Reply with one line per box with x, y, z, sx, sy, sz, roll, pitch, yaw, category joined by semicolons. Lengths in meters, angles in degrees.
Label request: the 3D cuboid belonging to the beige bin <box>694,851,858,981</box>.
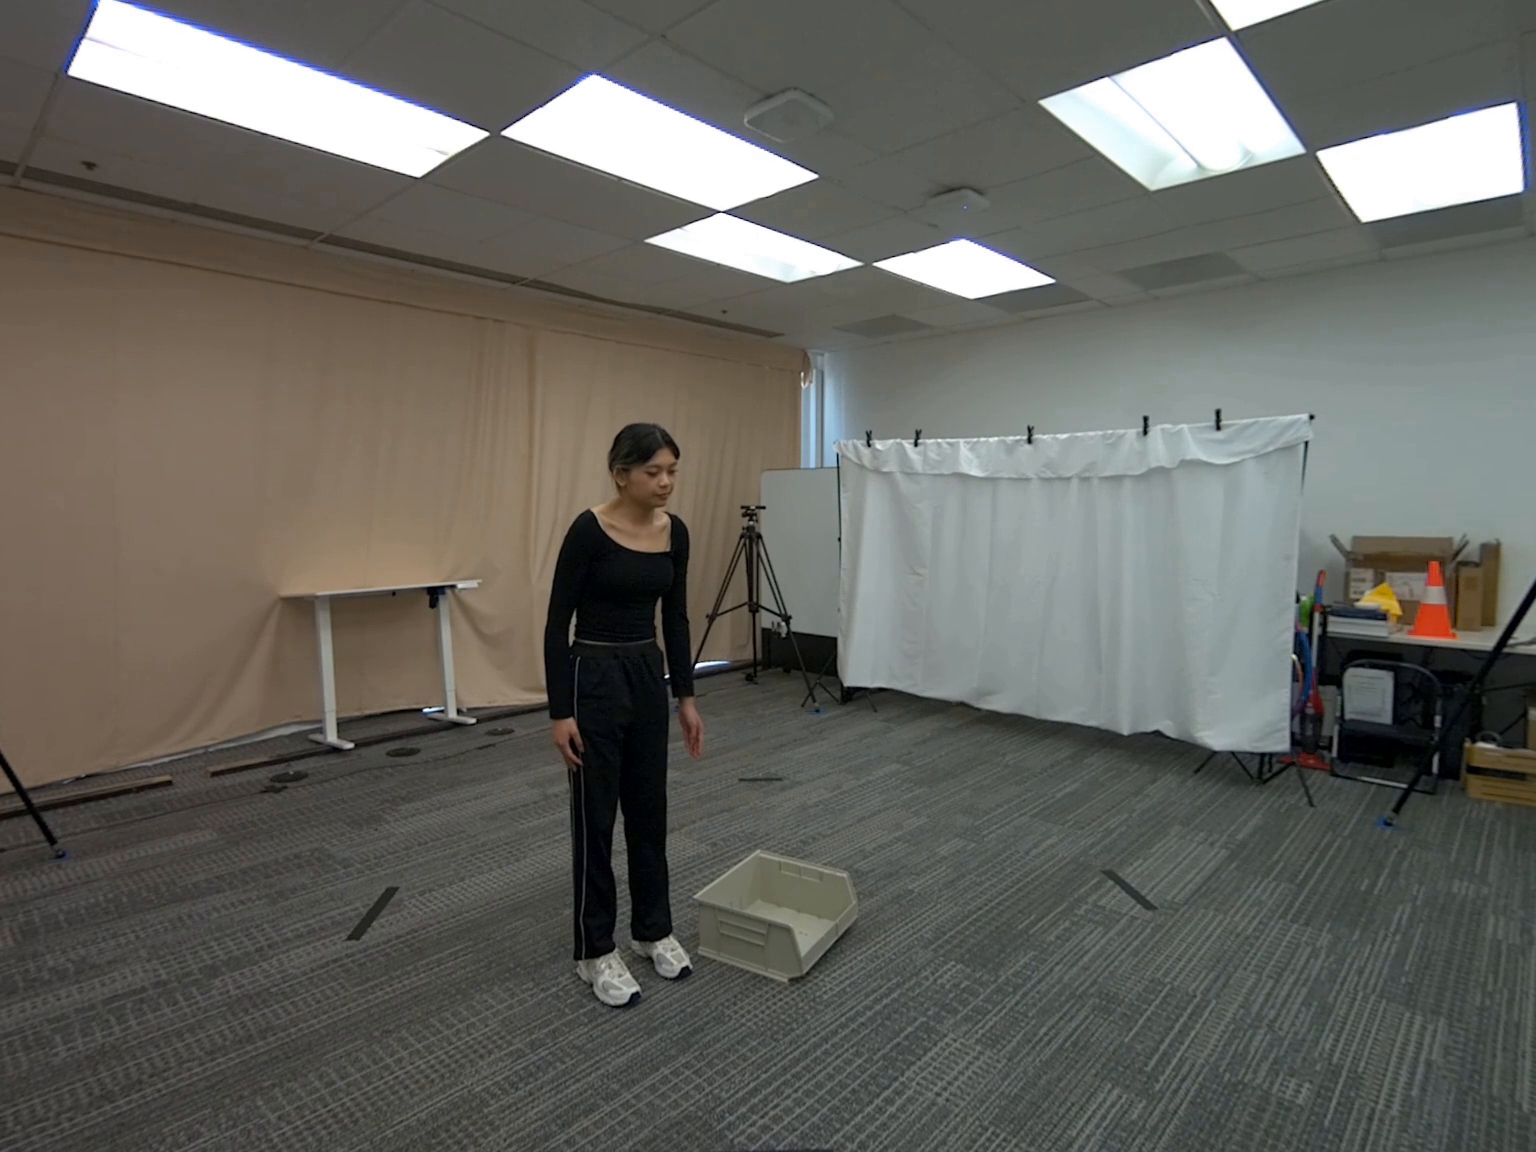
0.034;1.082;2.696;0.388;0.188;0.411;2;6;30;beige bin
